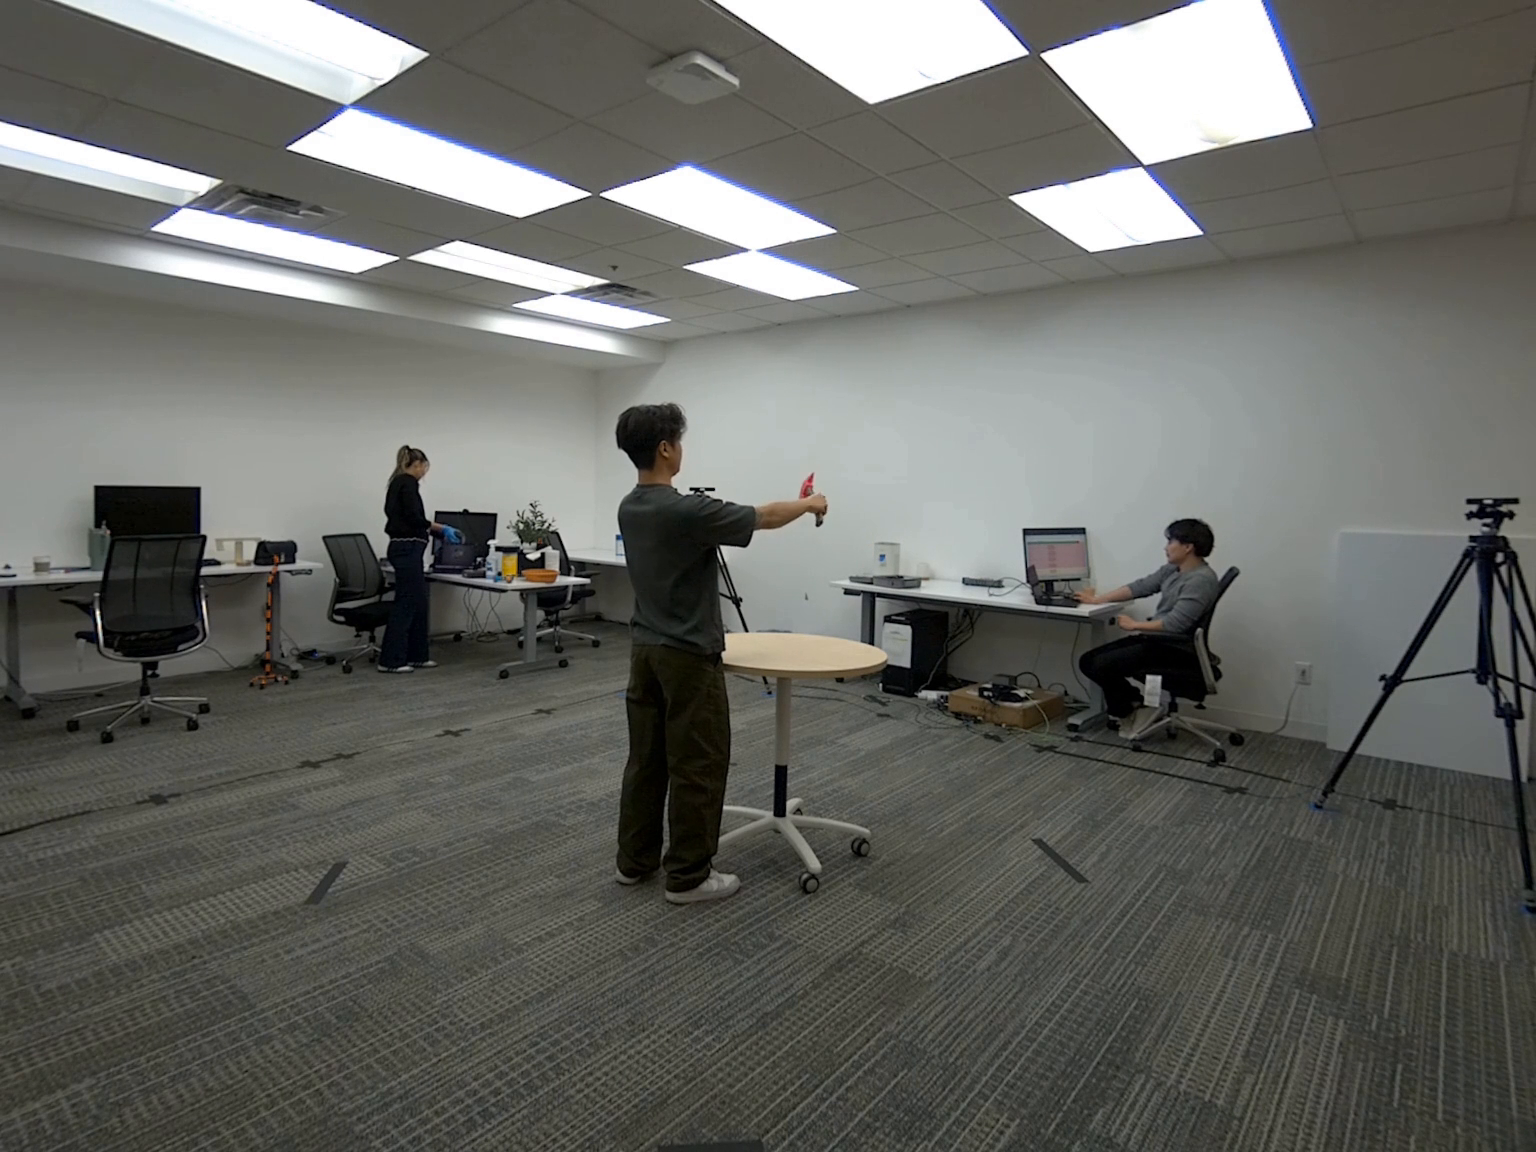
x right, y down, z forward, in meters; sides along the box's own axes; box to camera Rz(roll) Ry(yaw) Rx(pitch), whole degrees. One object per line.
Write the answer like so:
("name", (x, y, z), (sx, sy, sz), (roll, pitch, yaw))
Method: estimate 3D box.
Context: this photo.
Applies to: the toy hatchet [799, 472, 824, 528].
("toy hatchet", (0.151, -0.261, 3.166), (0.029, 0.279, 0.130), (16, -48, -23))
